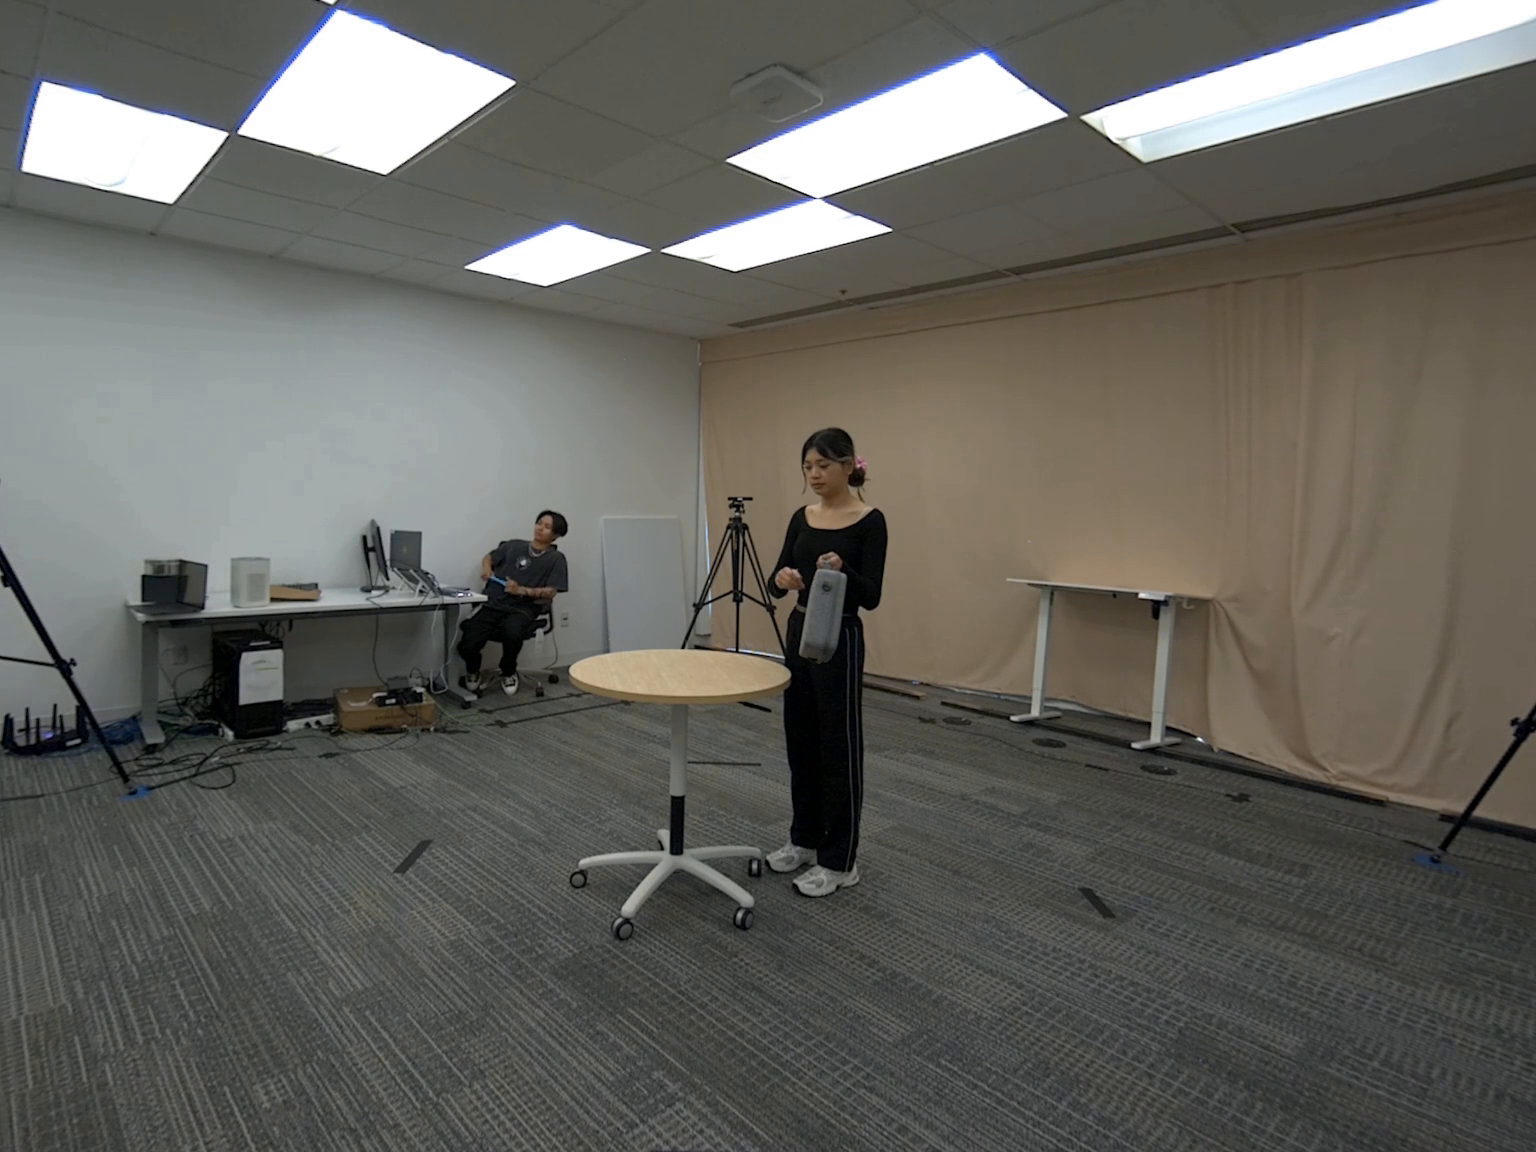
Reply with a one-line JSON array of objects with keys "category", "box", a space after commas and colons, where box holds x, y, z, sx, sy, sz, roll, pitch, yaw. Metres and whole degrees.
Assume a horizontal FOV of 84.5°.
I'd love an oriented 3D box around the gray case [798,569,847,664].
[{"category": "gray case", "box": [0.167, 0.126, 2.635, 0.104, 0.263, 0.253, 8, -17, 2]}]
